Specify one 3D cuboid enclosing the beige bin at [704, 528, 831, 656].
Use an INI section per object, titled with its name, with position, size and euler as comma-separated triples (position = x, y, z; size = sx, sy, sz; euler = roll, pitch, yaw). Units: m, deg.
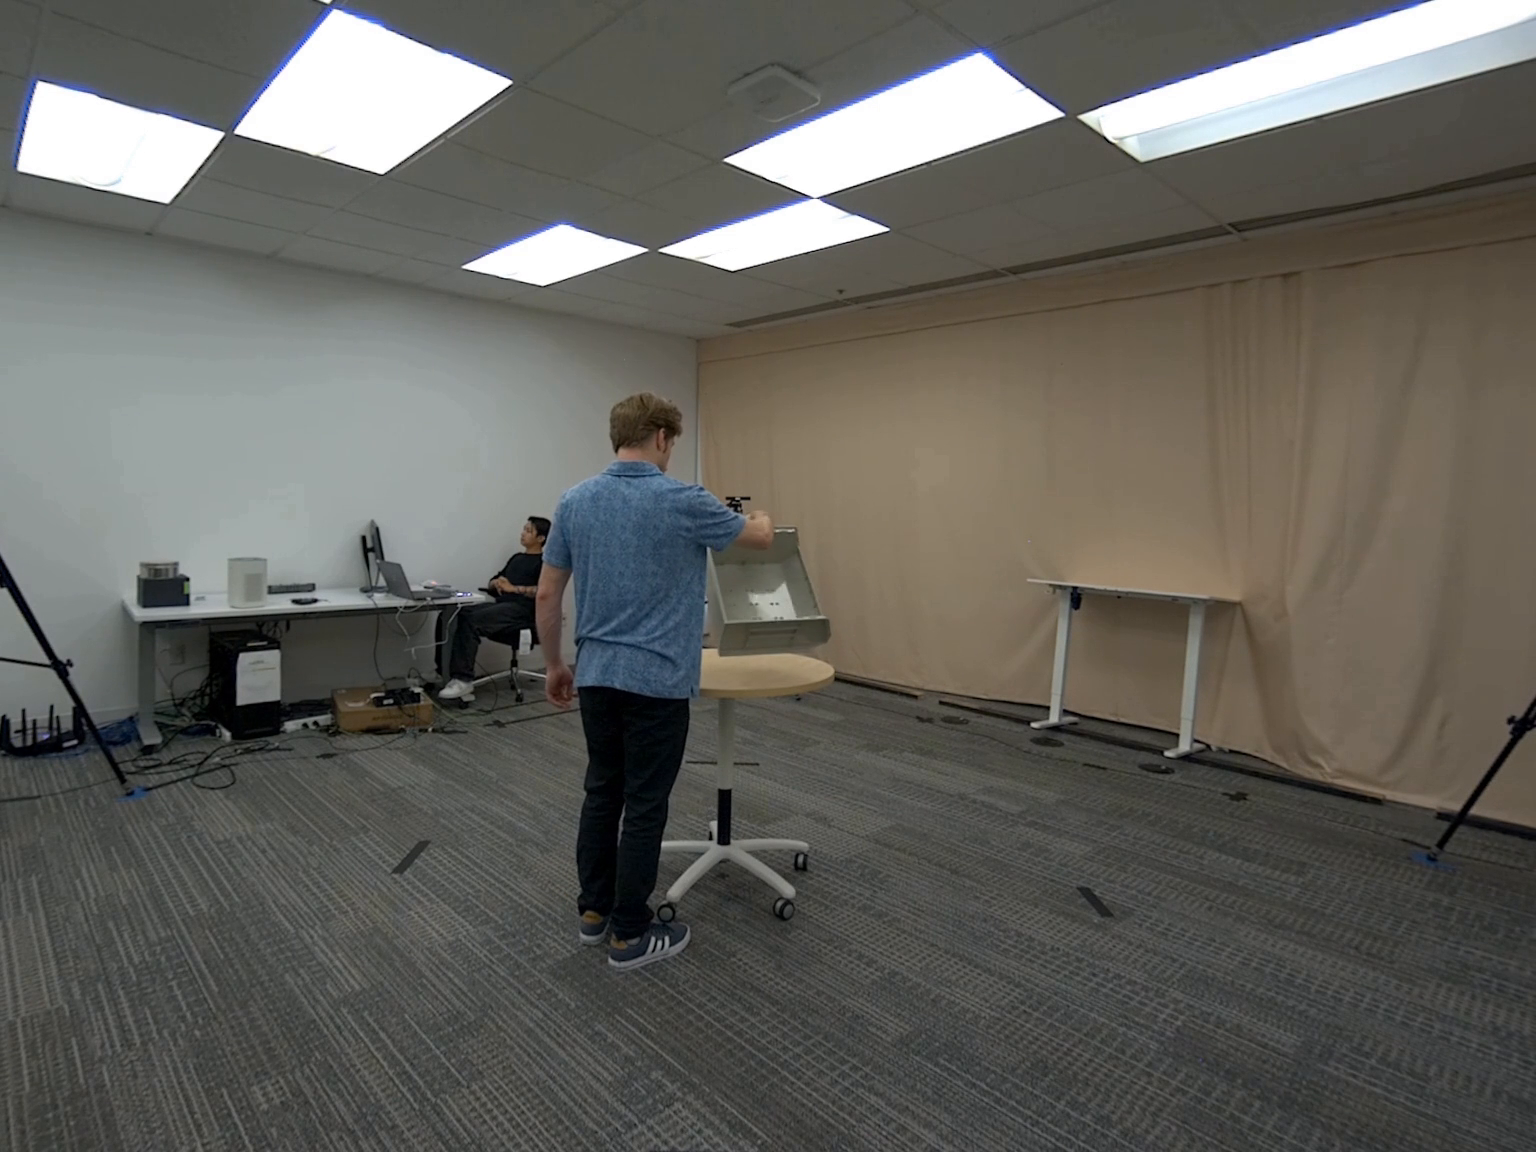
[beige bin]
position = -0.032, 0.050, 2.839
size = 0.373, 0.186, 0.434
euler = -3, 47, -15
